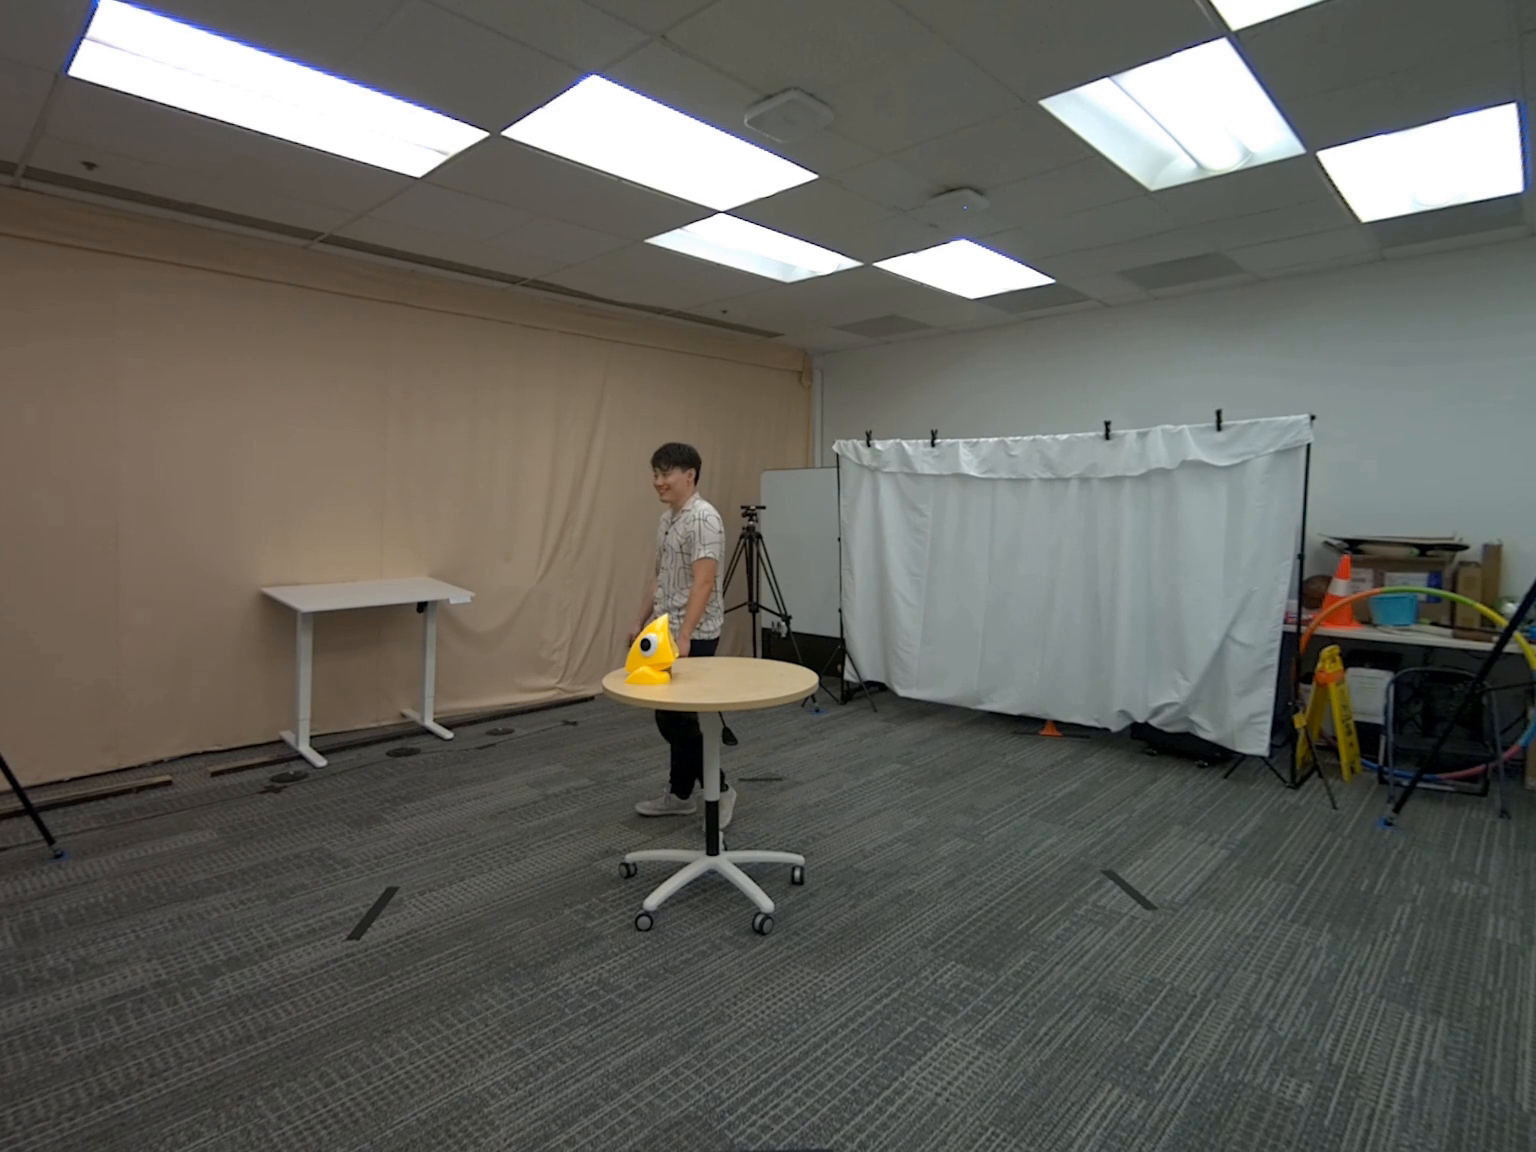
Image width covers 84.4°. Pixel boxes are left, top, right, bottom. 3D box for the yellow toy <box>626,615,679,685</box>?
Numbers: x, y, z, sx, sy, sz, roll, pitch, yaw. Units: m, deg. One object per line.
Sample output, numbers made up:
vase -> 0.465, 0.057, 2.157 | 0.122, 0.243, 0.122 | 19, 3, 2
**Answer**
yellow toy -> -0.410, 0.246, 2.994 | 0.193, 0.230, 0.205 | 2, 4, -1
